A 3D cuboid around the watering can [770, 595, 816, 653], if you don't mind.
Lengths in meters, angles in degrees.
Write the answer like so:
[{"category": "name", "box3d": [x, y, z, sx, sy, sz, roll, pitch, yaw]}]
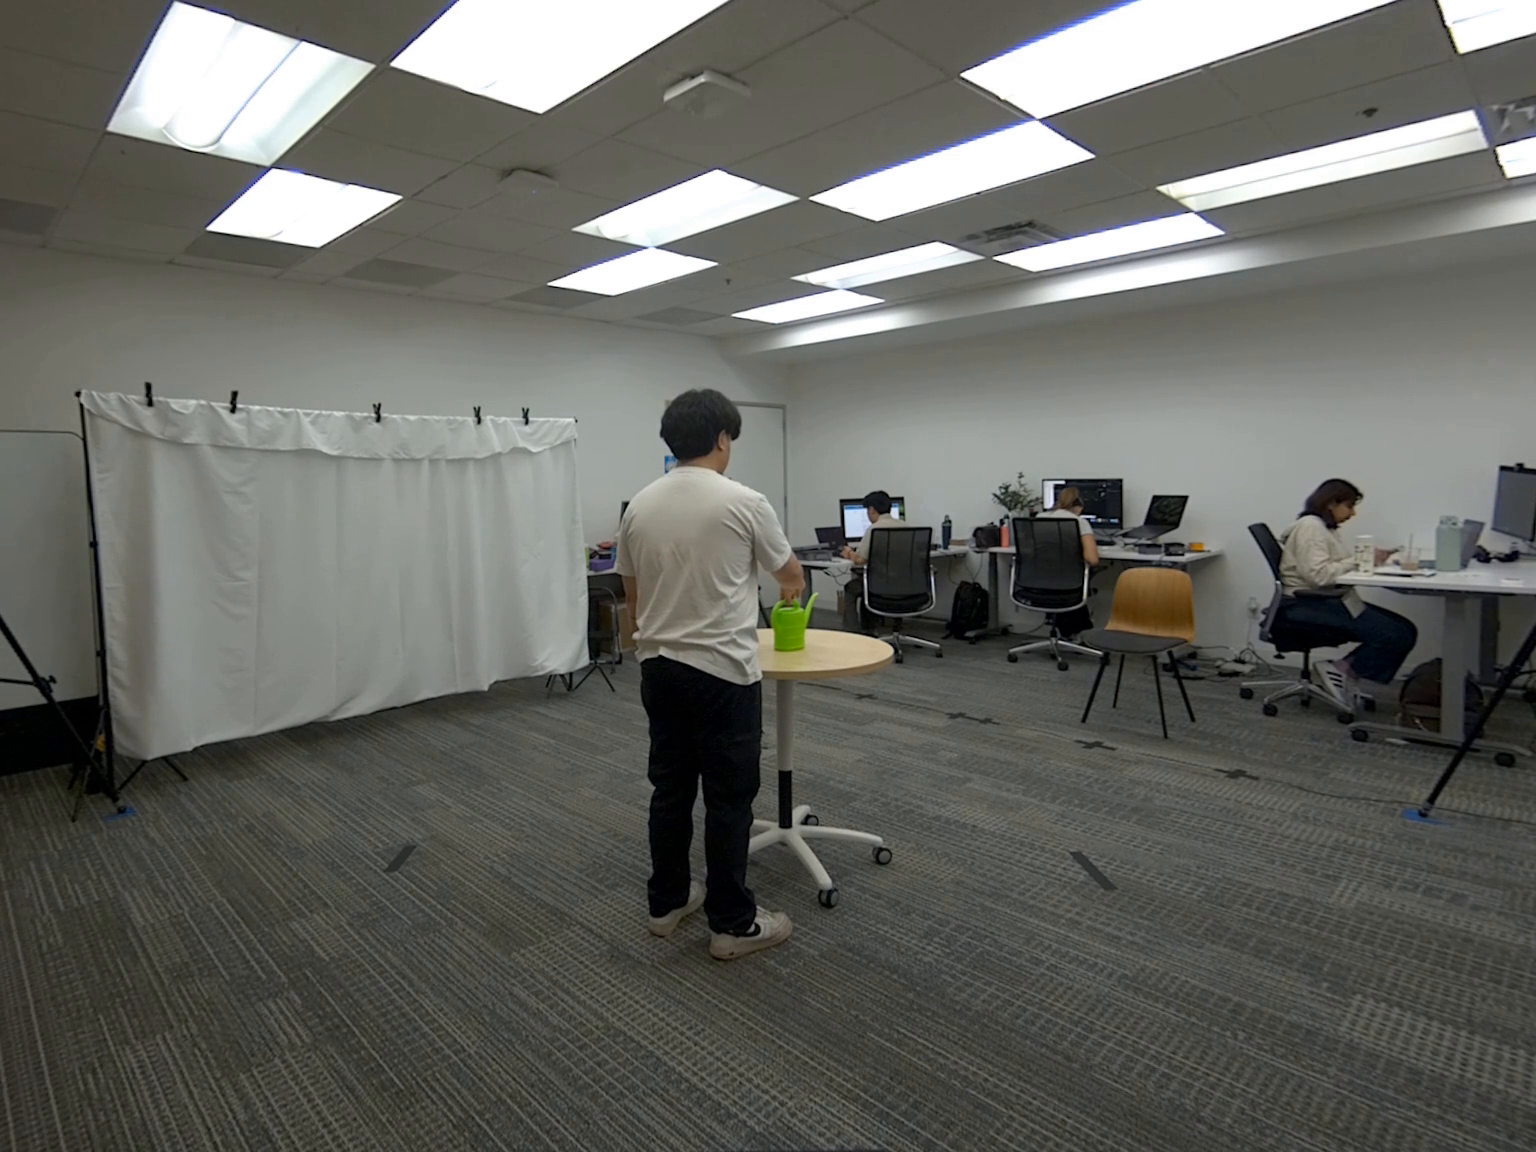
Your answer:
[{"category": "watering can", "box3d": [0.114, 0.166, 3.047, 0.271, 0.176, 0.101, -9, 9, -40]}]
